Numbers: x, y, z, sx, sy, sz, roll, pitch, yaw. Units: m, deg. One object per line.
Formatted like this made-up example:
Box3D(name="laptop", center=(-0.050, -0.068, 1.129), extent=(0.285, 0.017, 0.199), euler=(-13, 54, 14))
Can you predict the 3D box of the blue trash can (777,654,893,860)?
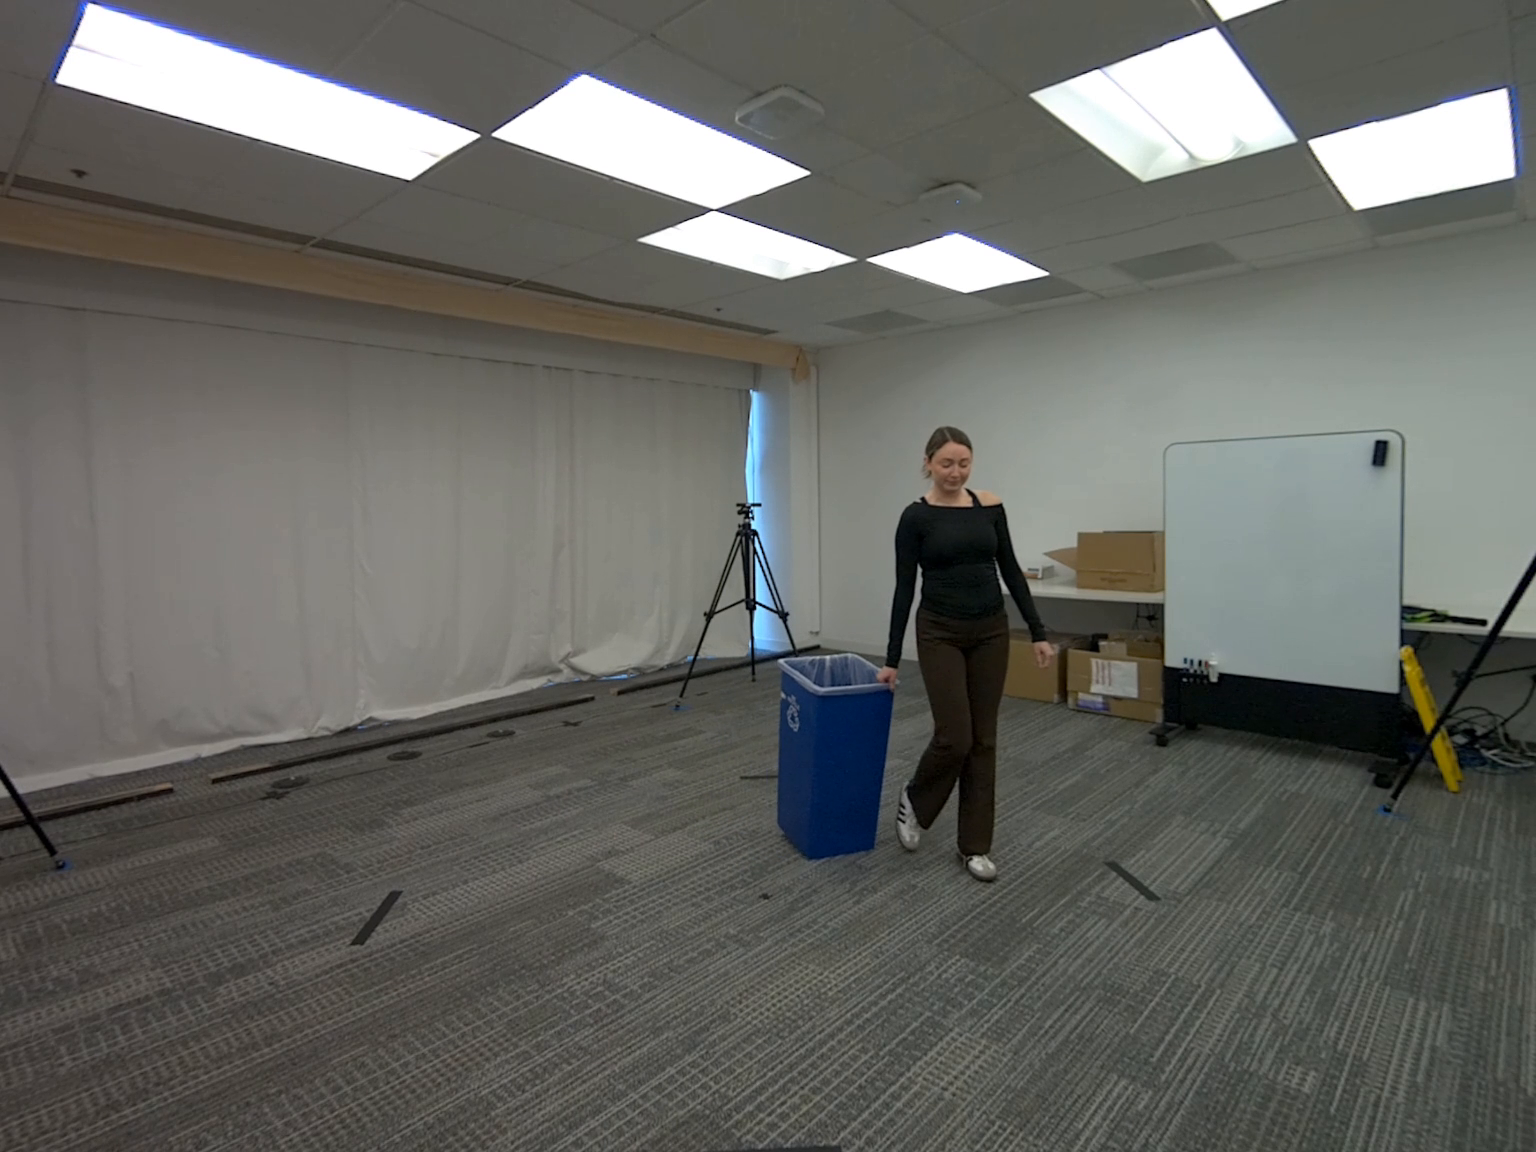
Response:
Box3D(name="blue trash can", center=(0.266, 0.718, 3.383), extent=(0.369, 0.709, 0.385), euler=(-2, 12, -25))
